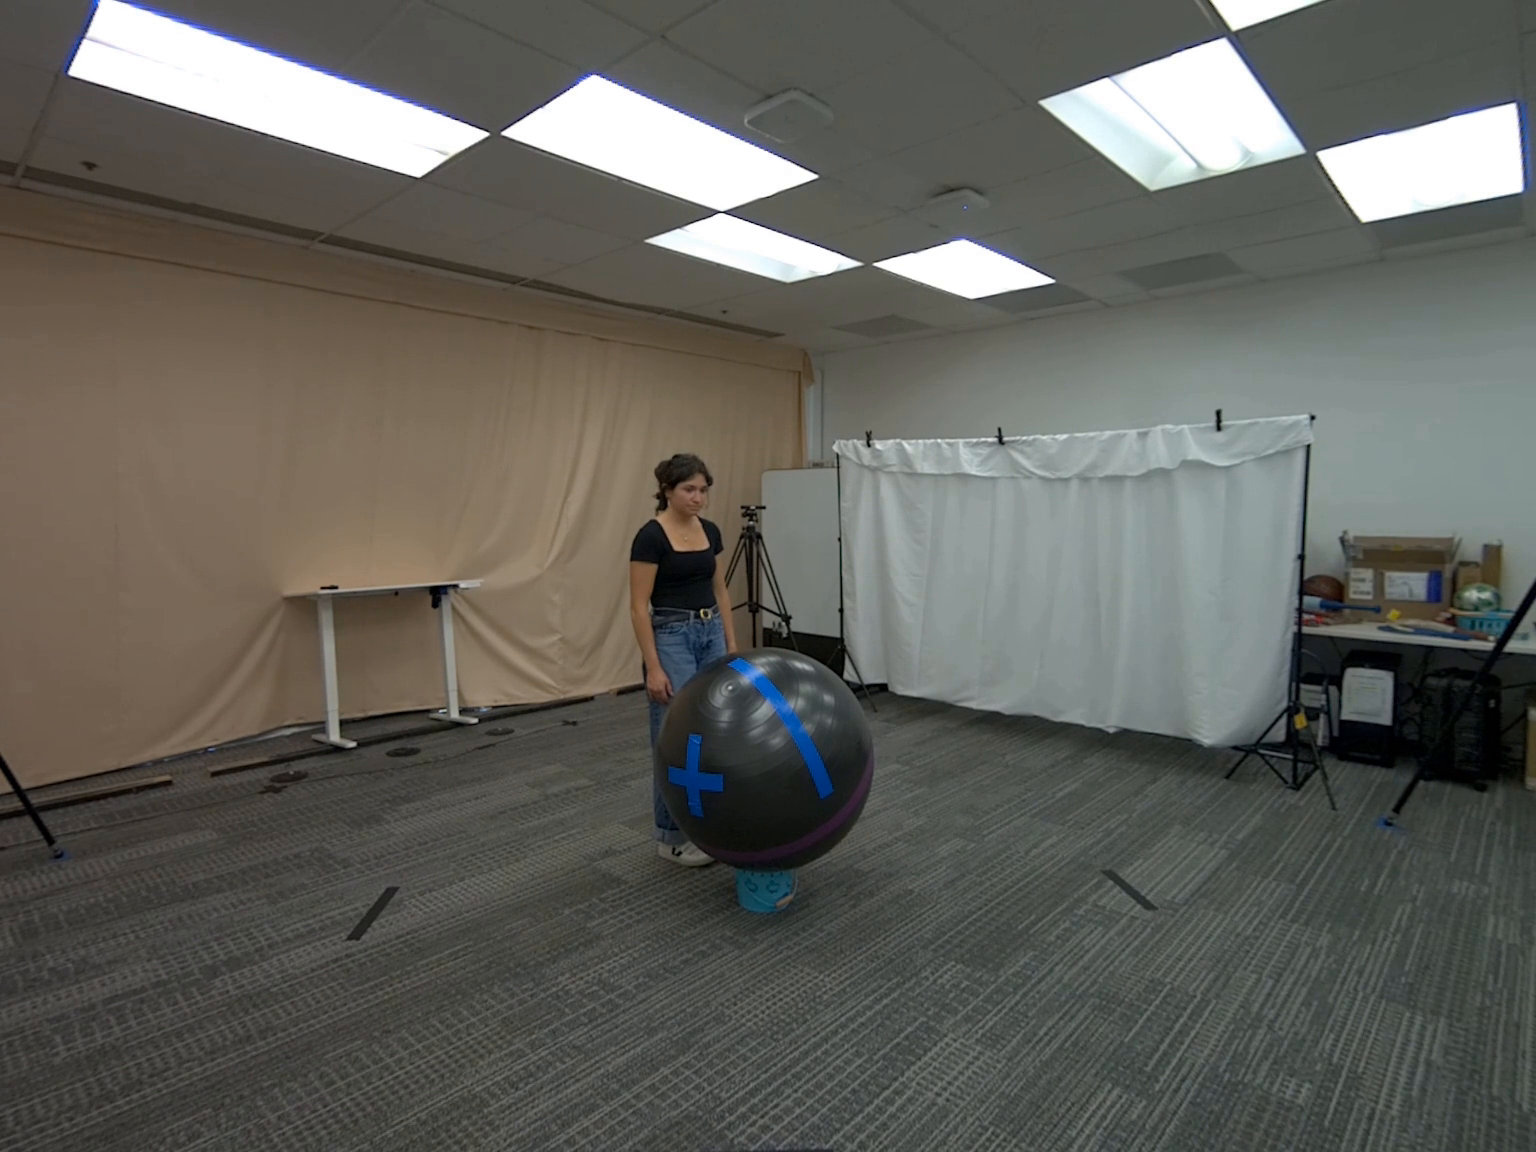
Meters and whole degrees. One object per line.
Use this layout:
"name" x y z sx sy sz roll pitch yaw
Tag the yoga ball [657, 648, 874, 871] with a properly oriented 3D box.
"yoga ball" -0.010 0.633 2.948 0.757 0.756 0.760 0 4 -2
